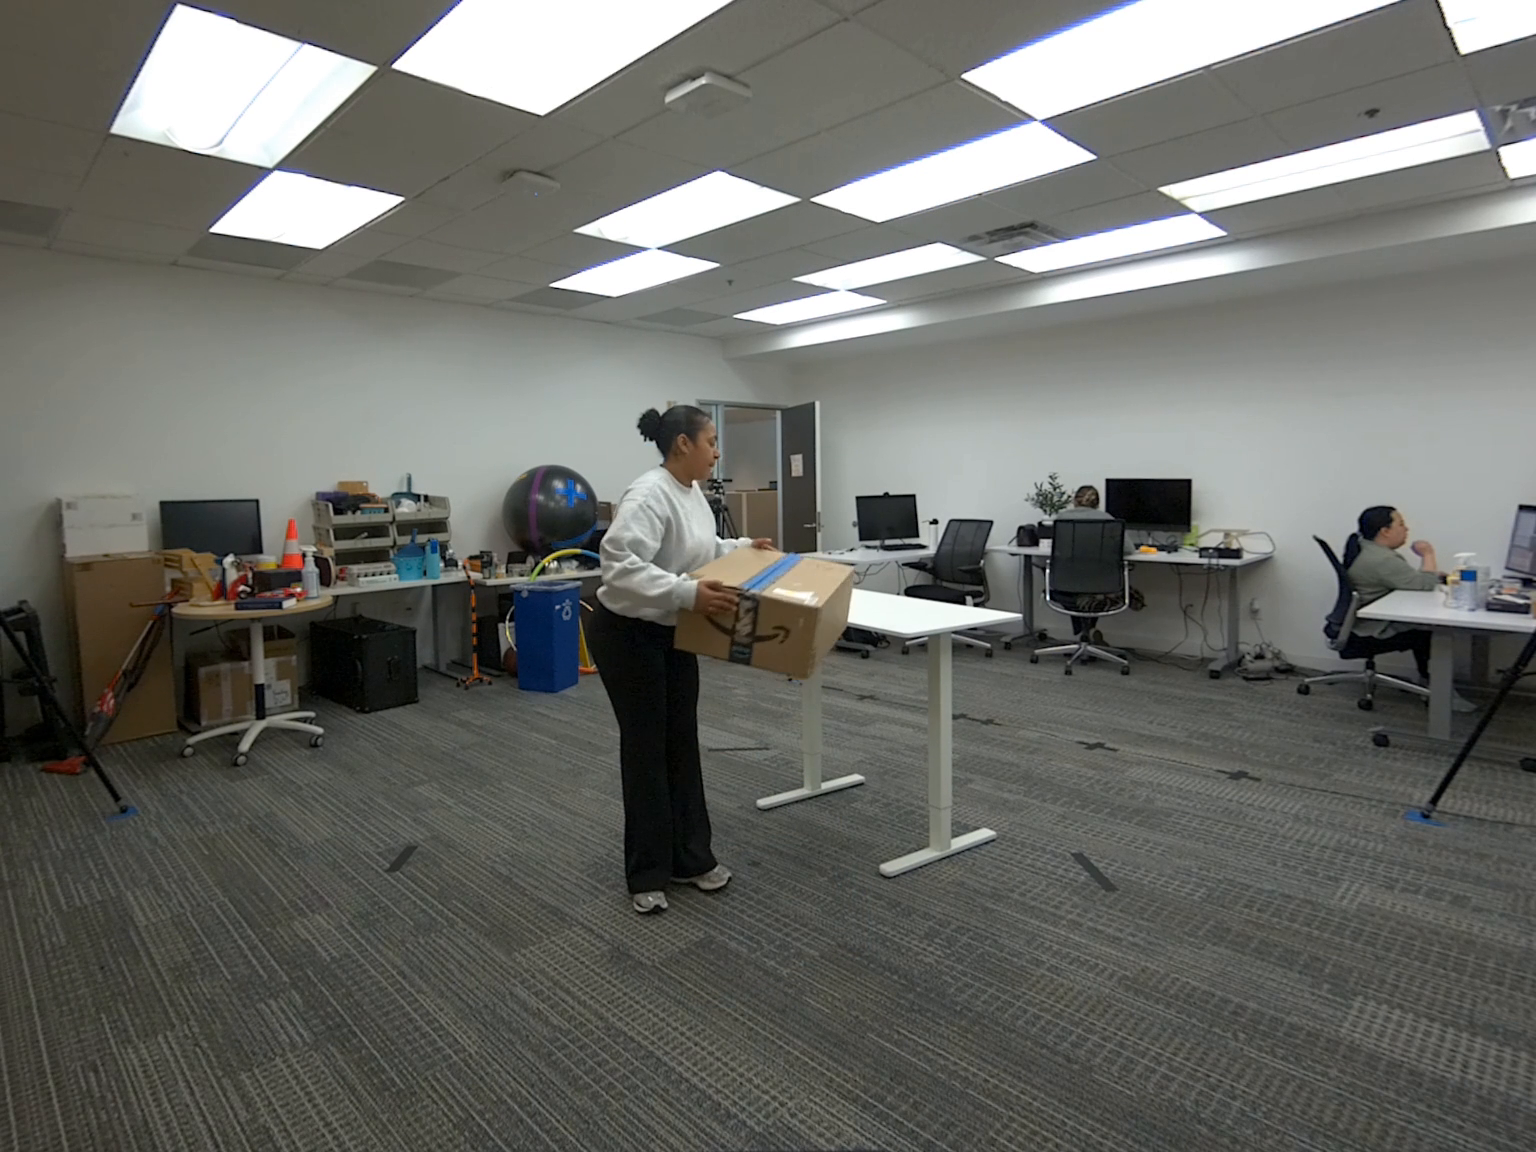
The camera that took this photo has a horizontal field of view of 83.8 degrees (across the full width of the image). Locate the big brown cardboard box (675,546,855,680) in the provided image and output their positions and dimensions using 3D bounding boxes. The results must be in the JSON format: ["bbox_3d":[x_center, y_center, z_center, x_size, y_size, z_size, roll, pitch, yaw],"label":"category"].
[{"bbox_3d":[0.003,0.094,2.703,0.425,0.231,0.583,10,13,16],"label":"big brown cardboard box"}]
